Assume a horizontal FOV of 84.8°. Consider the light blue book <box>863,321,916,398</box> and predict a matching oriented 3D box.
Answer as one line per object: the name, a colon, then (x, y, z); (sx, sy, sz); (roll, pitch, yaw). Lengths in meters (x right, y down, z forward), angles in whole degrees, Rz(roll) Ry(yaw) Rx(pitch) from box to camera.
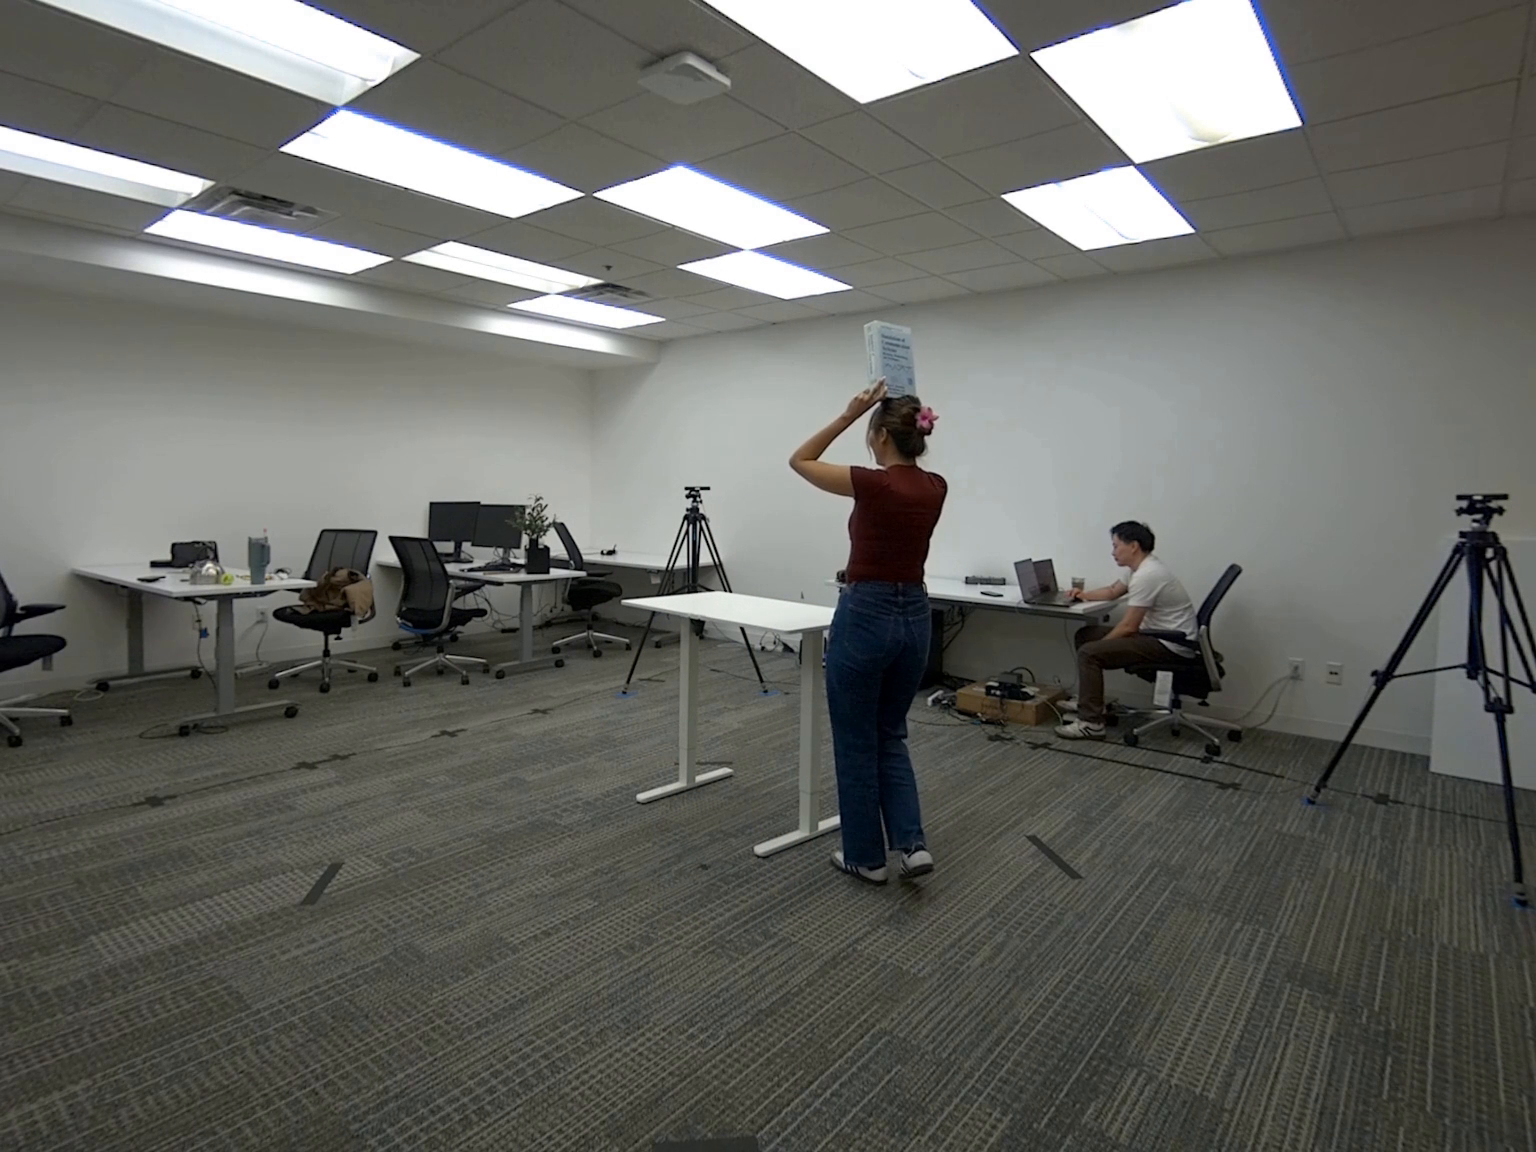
light blue book: (0.419, -0.735, 2.942); (0.185, 0.262, 0.060); (-1, -5, -40)
